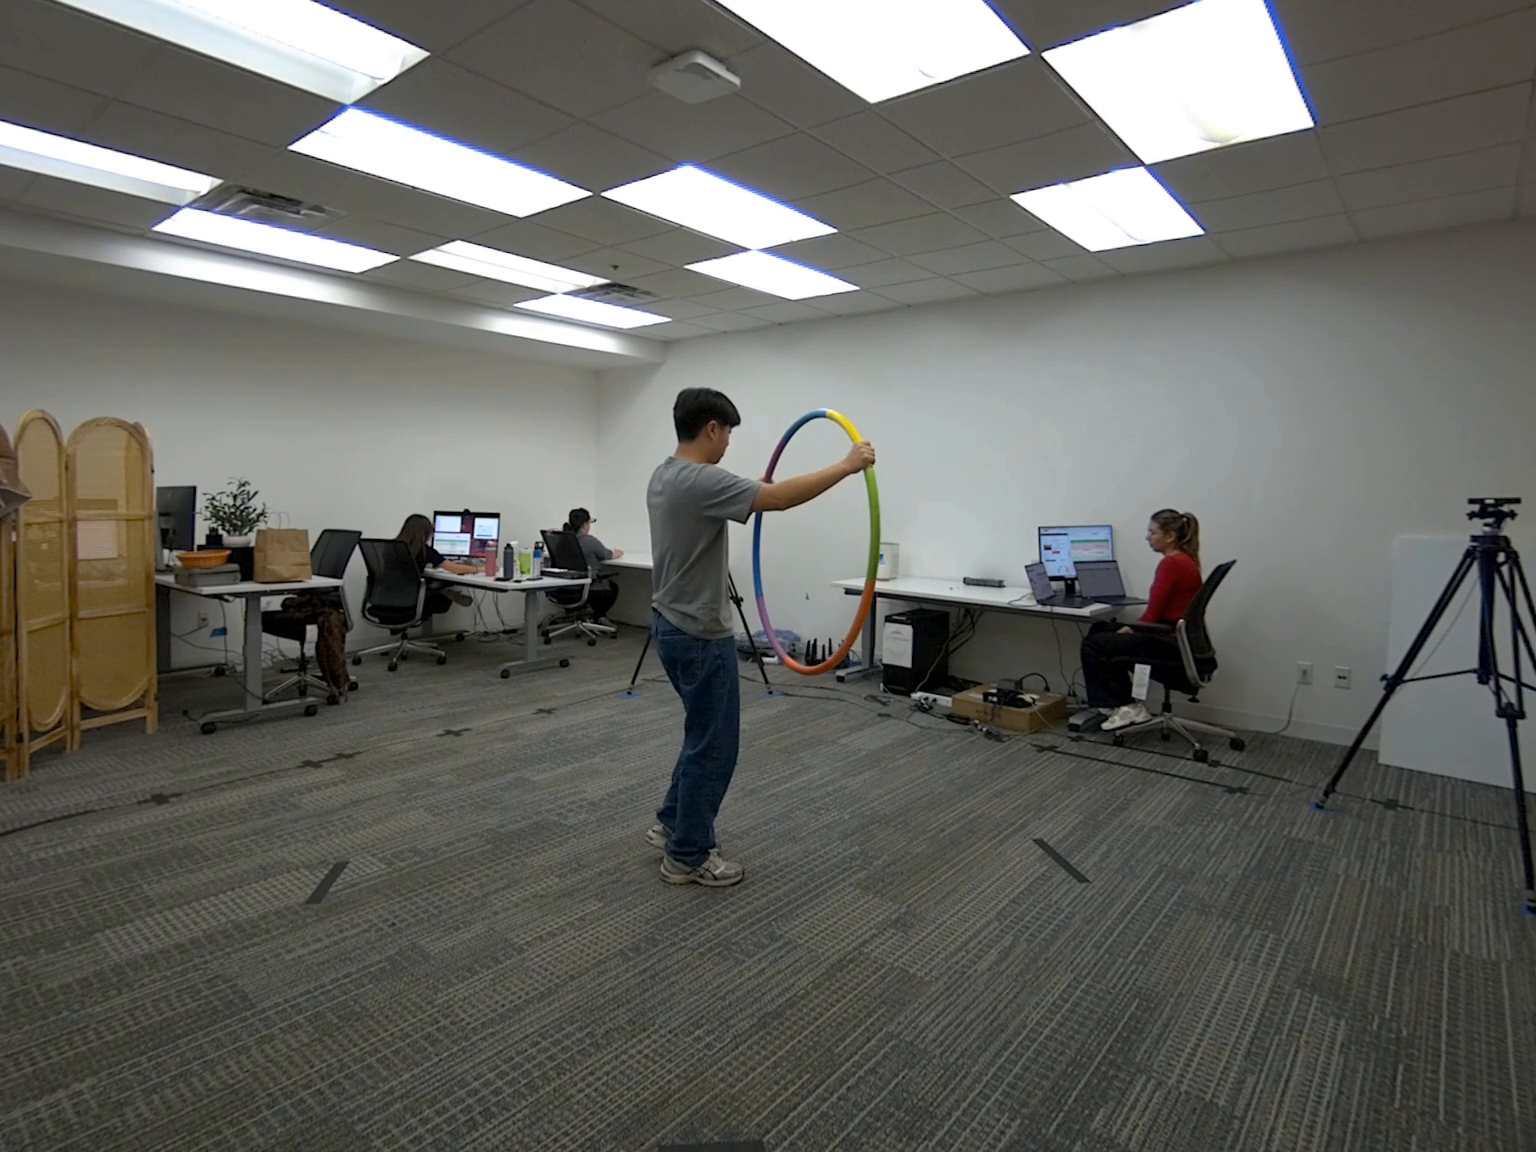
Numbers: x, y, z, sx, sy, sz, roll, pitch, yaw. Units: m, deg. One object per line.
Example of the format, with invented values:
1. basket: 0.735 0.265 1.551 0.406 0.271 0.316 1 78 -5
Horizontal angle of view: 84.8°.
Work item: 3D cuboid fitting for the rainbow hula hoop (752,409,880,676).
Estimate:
1. rainbow hula hoop: 0.134 -0.130 3.174 0.035 0.976 1.004 1 4 -24
